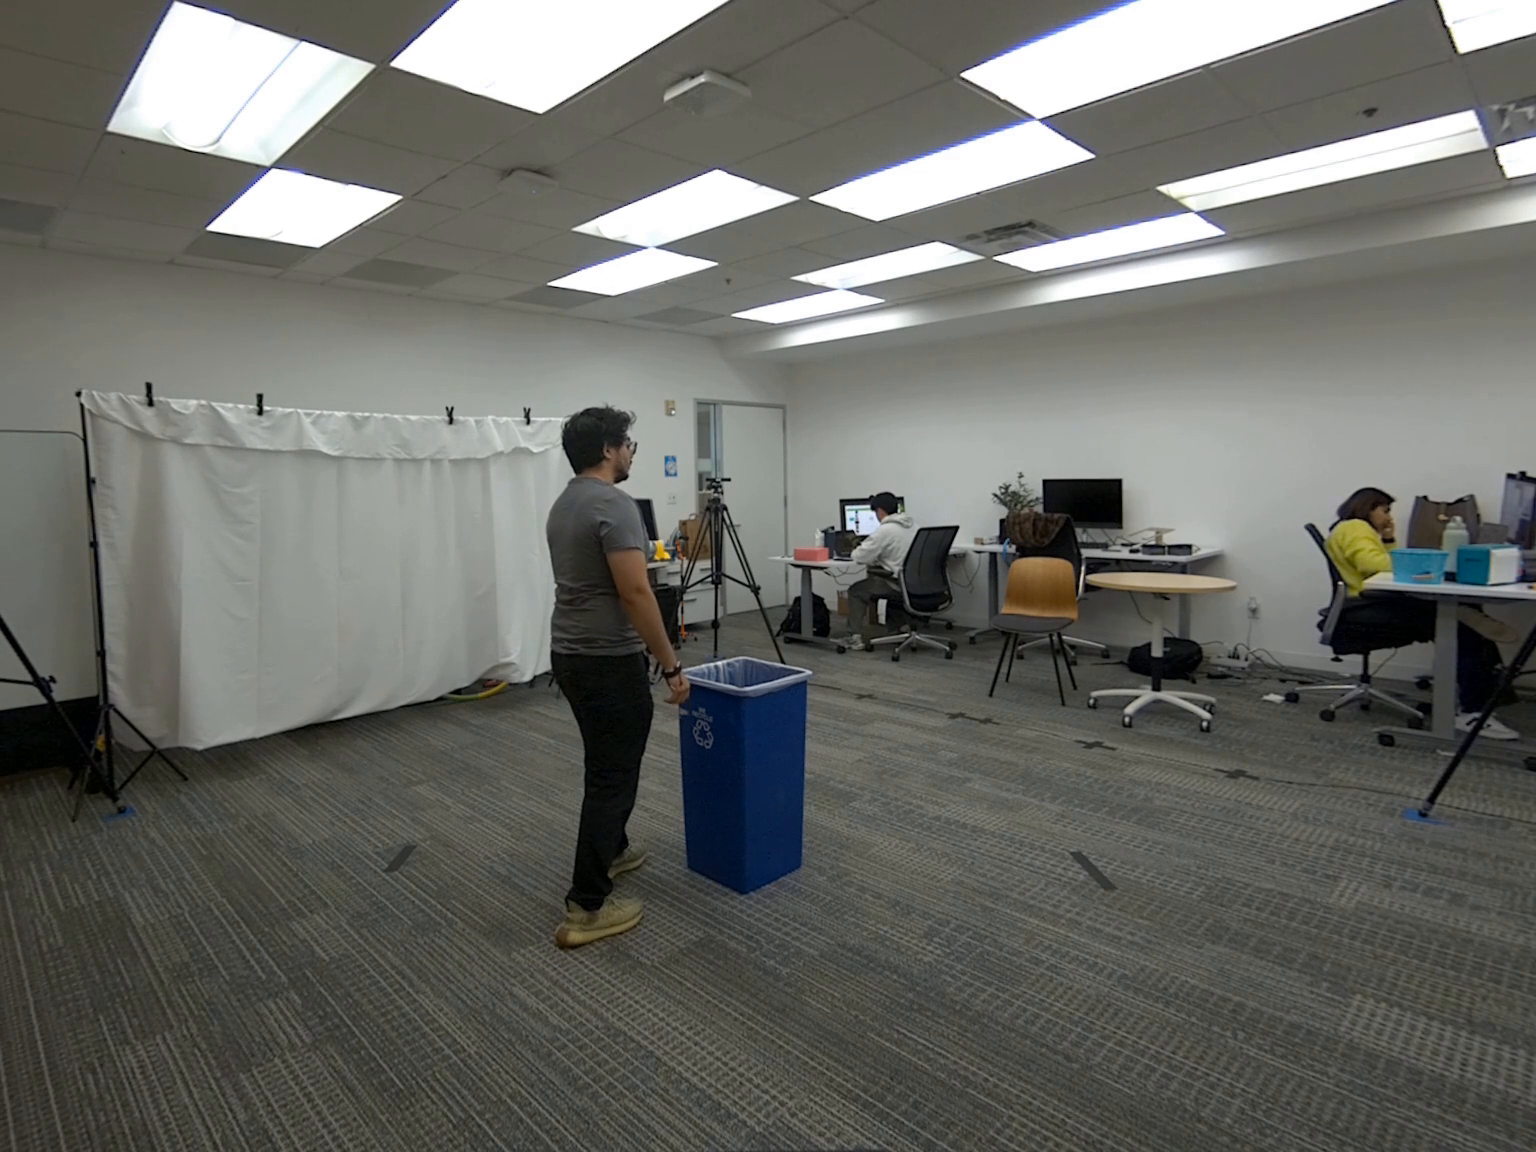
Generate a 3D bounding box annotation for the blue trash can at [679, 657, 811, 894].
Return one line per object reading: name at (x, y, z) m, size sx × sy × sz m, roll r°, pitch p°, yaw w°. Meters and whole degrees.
blue trash can at (-0.084, 0.691, 3.060) m, size 0.390 × 0.710 × 0.364 m, roll 4°, pitch 7°, yaw 44°
